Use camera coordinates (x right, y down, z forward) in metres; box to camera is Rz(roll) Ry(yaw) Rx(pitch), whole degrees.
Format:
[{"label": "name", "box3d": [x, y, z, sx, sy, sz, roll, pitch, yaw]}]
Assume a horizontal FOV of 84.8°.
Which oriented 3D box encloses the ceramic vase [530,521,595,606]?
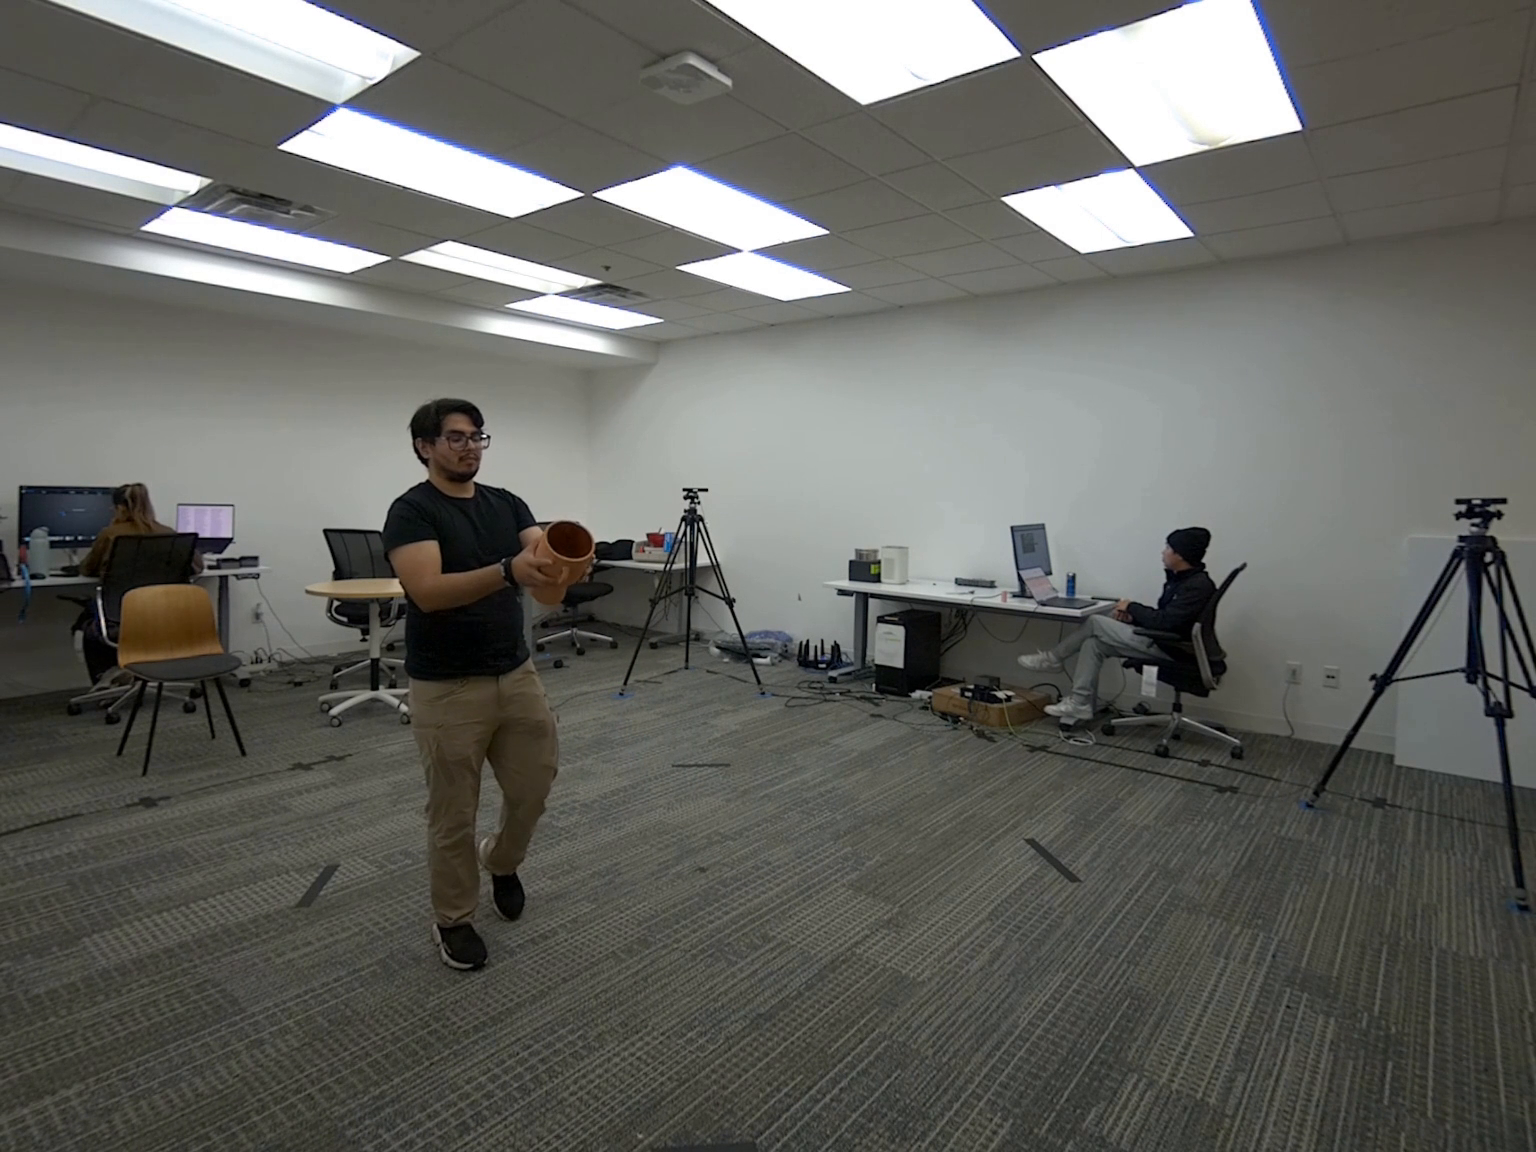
[{"label": "ceramic vase", "box3d": [-0.557, -0.022, 2.184, 0.158, 0.136, 0.218, -43, -9, -46]}]
